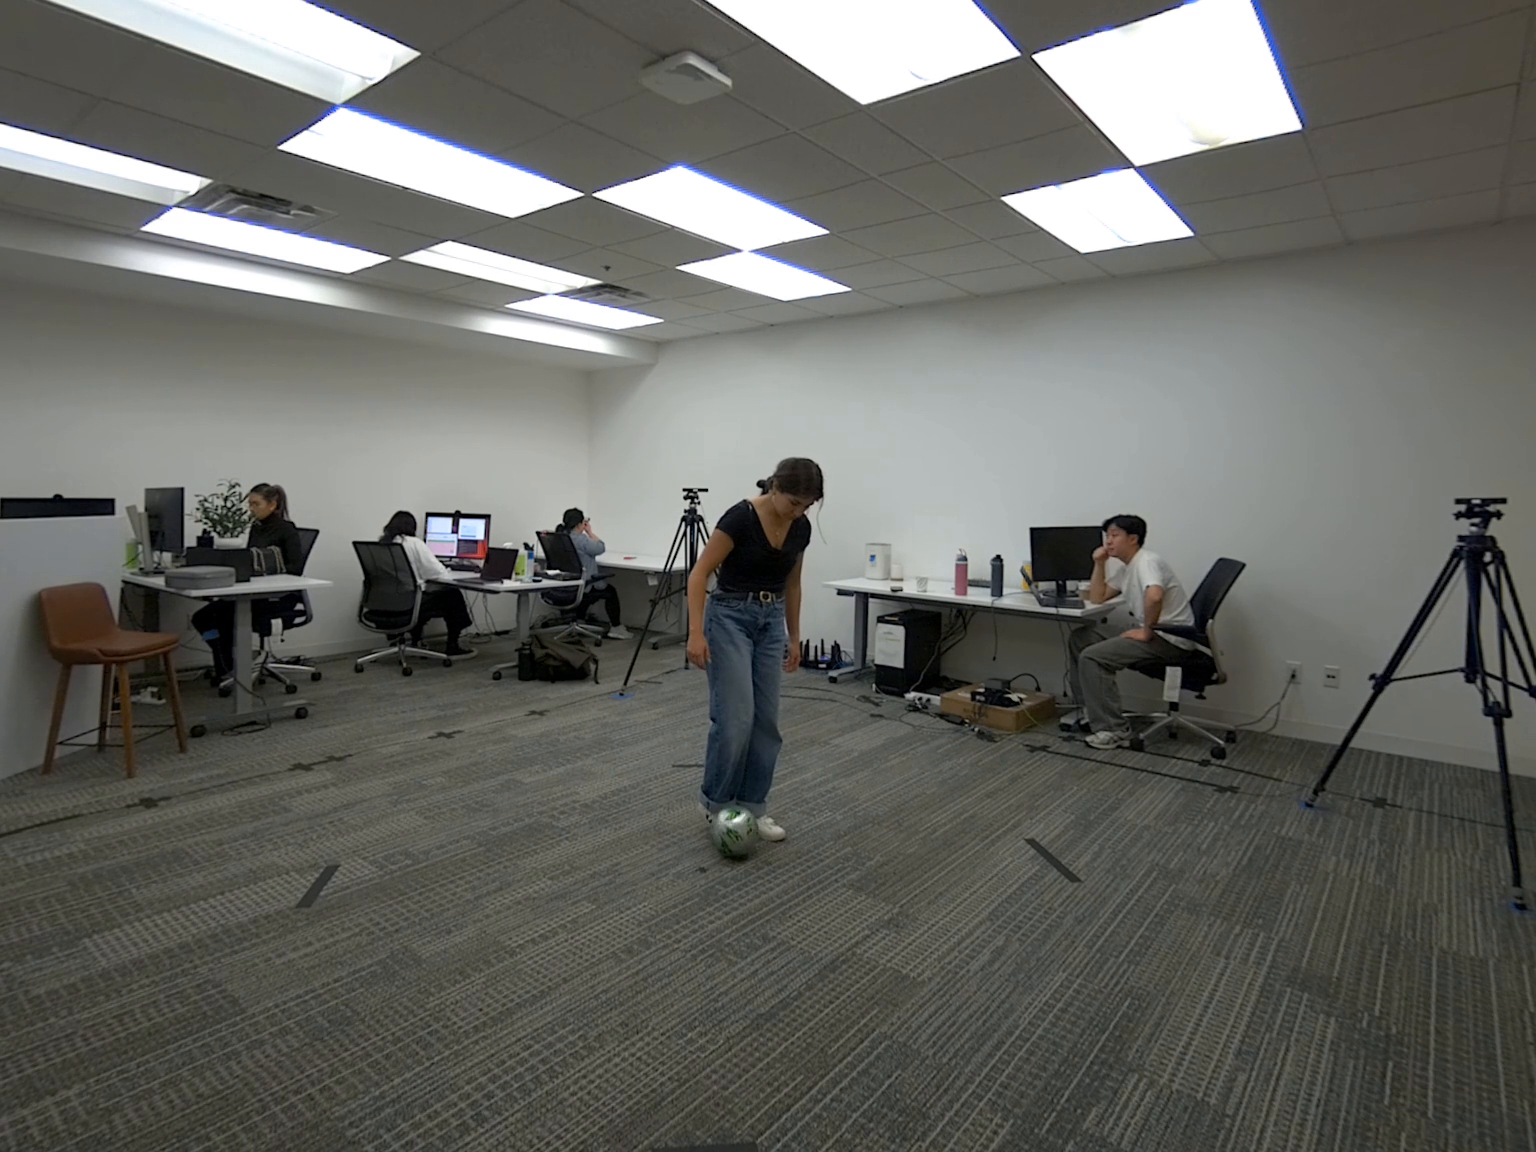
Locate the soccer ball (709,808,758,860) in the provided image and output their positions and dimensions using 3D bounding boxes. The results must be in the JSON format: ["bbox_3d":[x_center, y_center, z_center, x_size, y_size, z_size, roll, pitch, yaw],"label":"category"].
[{"bbox_3d":[-0.136,0.963,3.229,0.187,0.187,0.188,1,4,-2],"label":"soccer ball"}]
